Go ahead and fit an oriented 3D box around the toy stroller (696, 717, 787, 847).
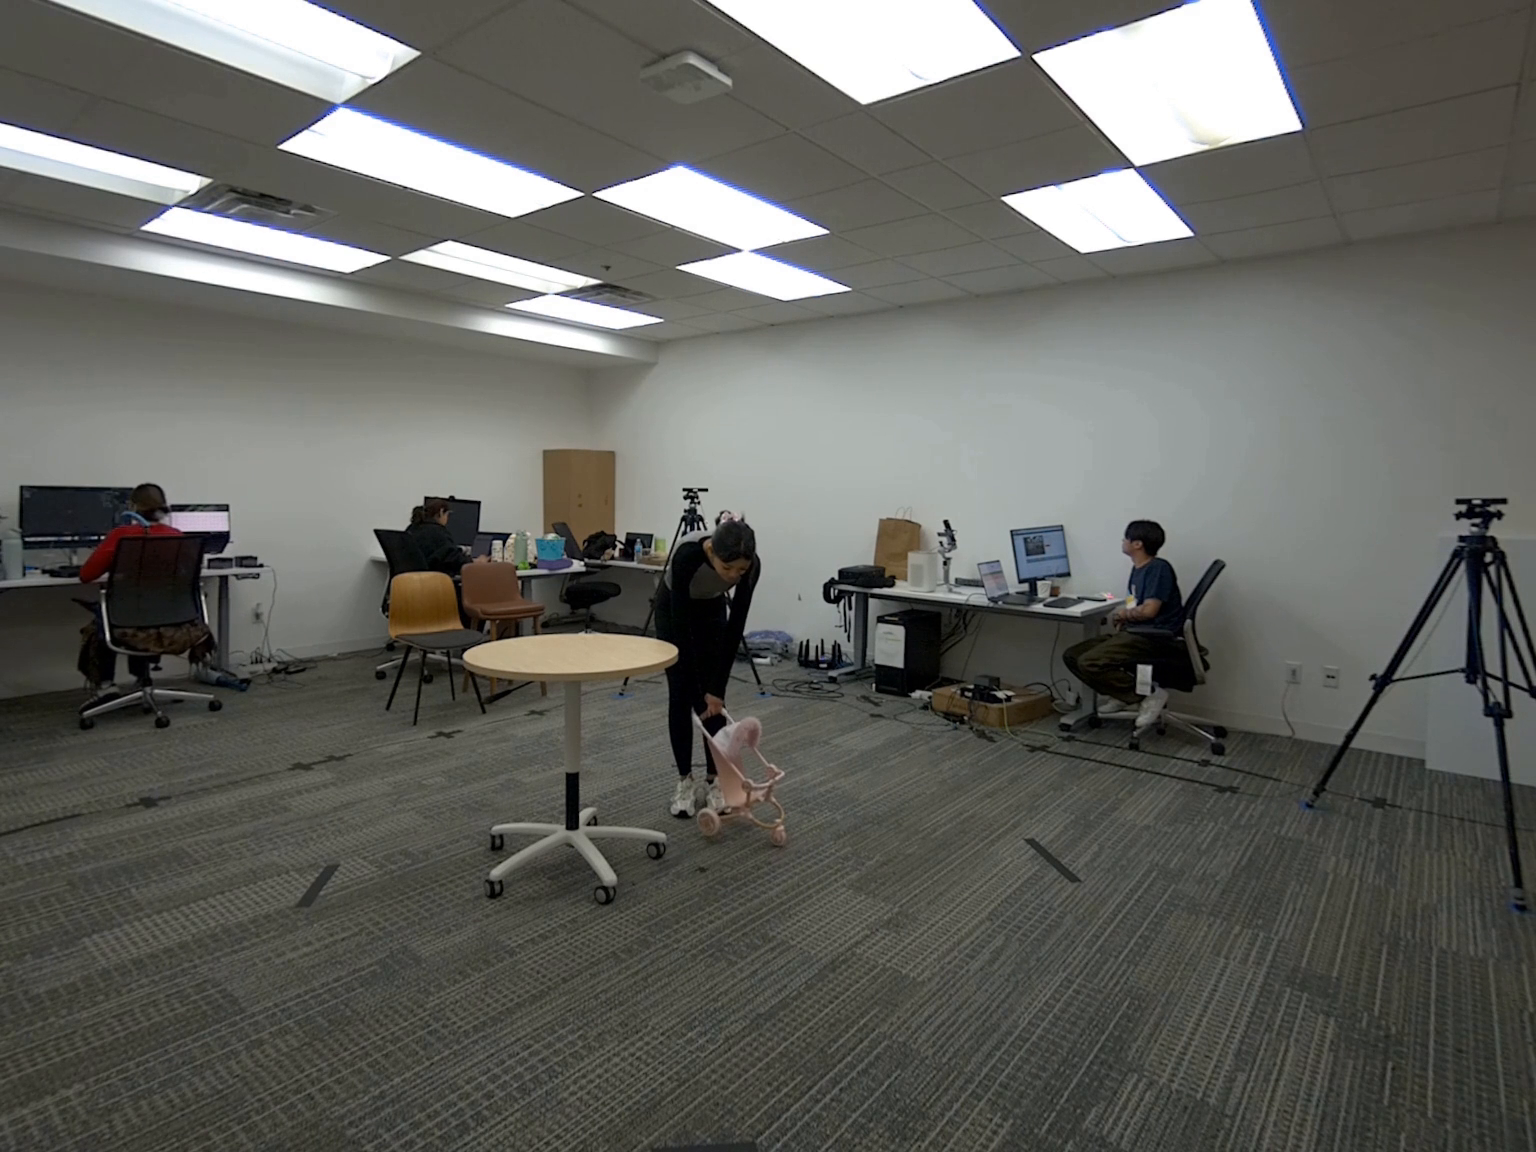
[{"bbox_3d":[-0.108,0.792,3.392,0.351,0.535,0.274,-4,1,36],"label":"toy stroller"}]
